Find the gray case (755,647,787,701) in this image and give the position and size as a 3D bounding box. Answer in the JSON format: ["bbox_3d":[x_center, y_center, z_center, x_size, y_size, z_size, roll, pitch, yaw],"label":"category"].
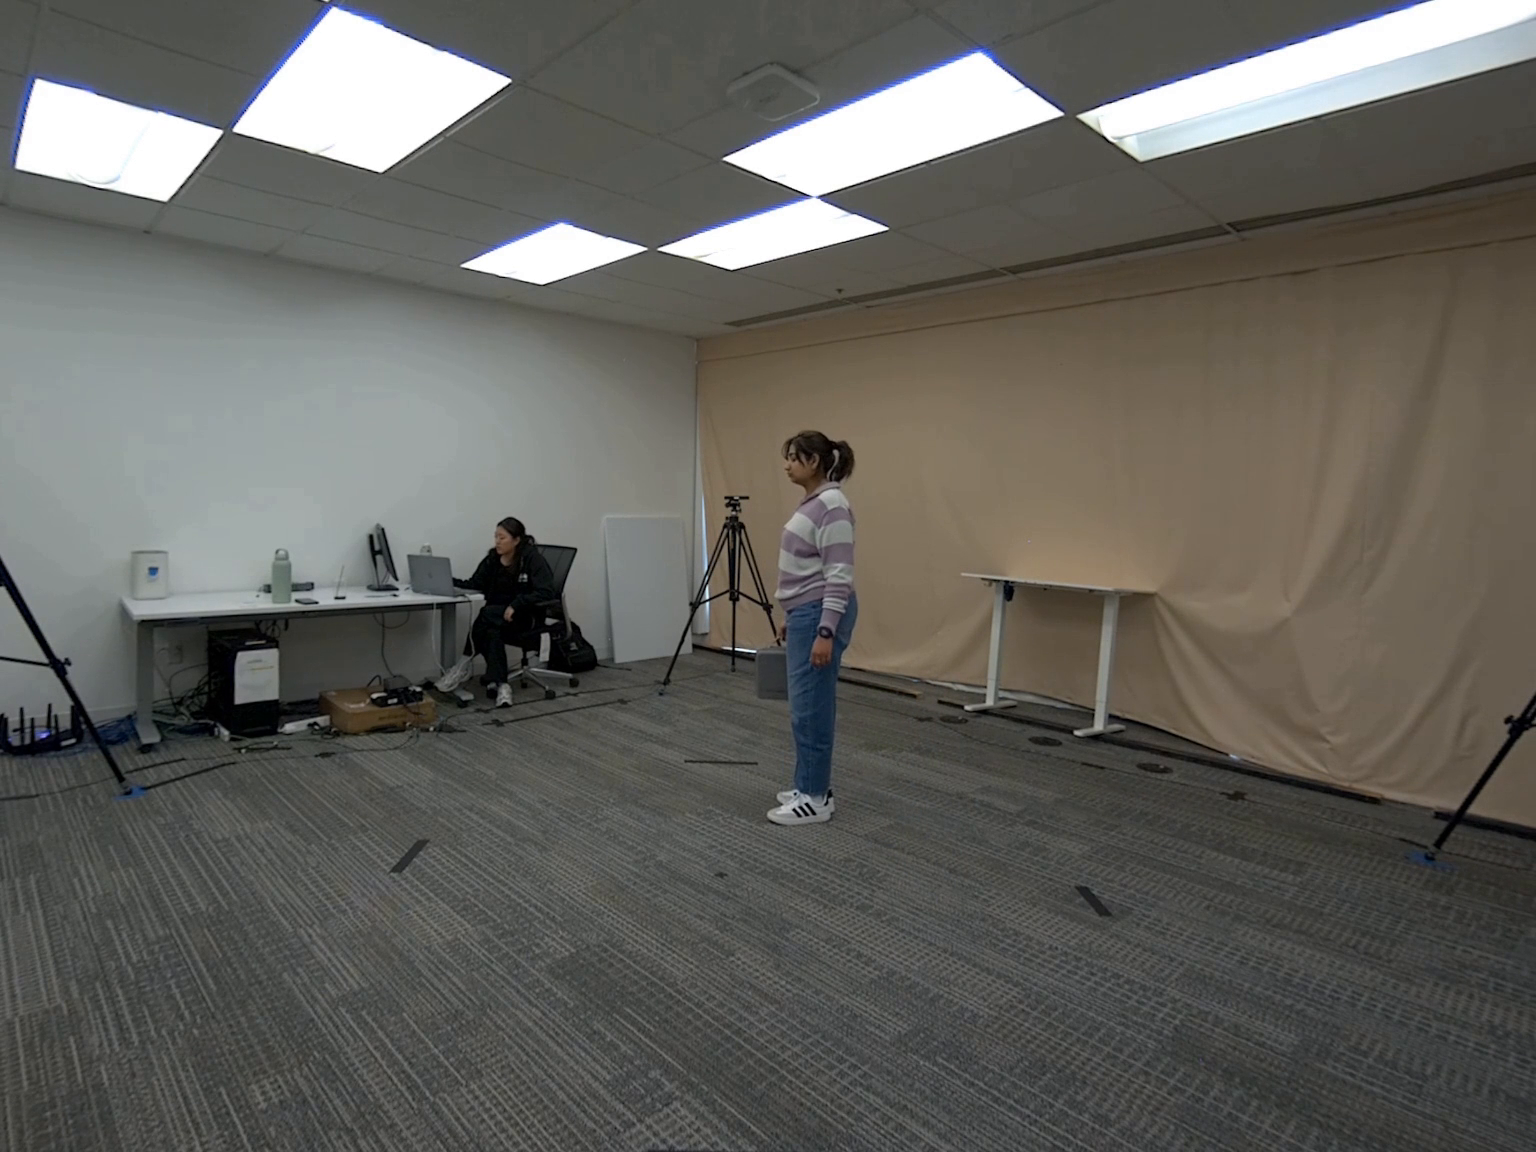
[{"bbox_3d":[0.055,0.465,4.055,0.258,0.258,0.105,1,14,6],"label":"gray case"}]
